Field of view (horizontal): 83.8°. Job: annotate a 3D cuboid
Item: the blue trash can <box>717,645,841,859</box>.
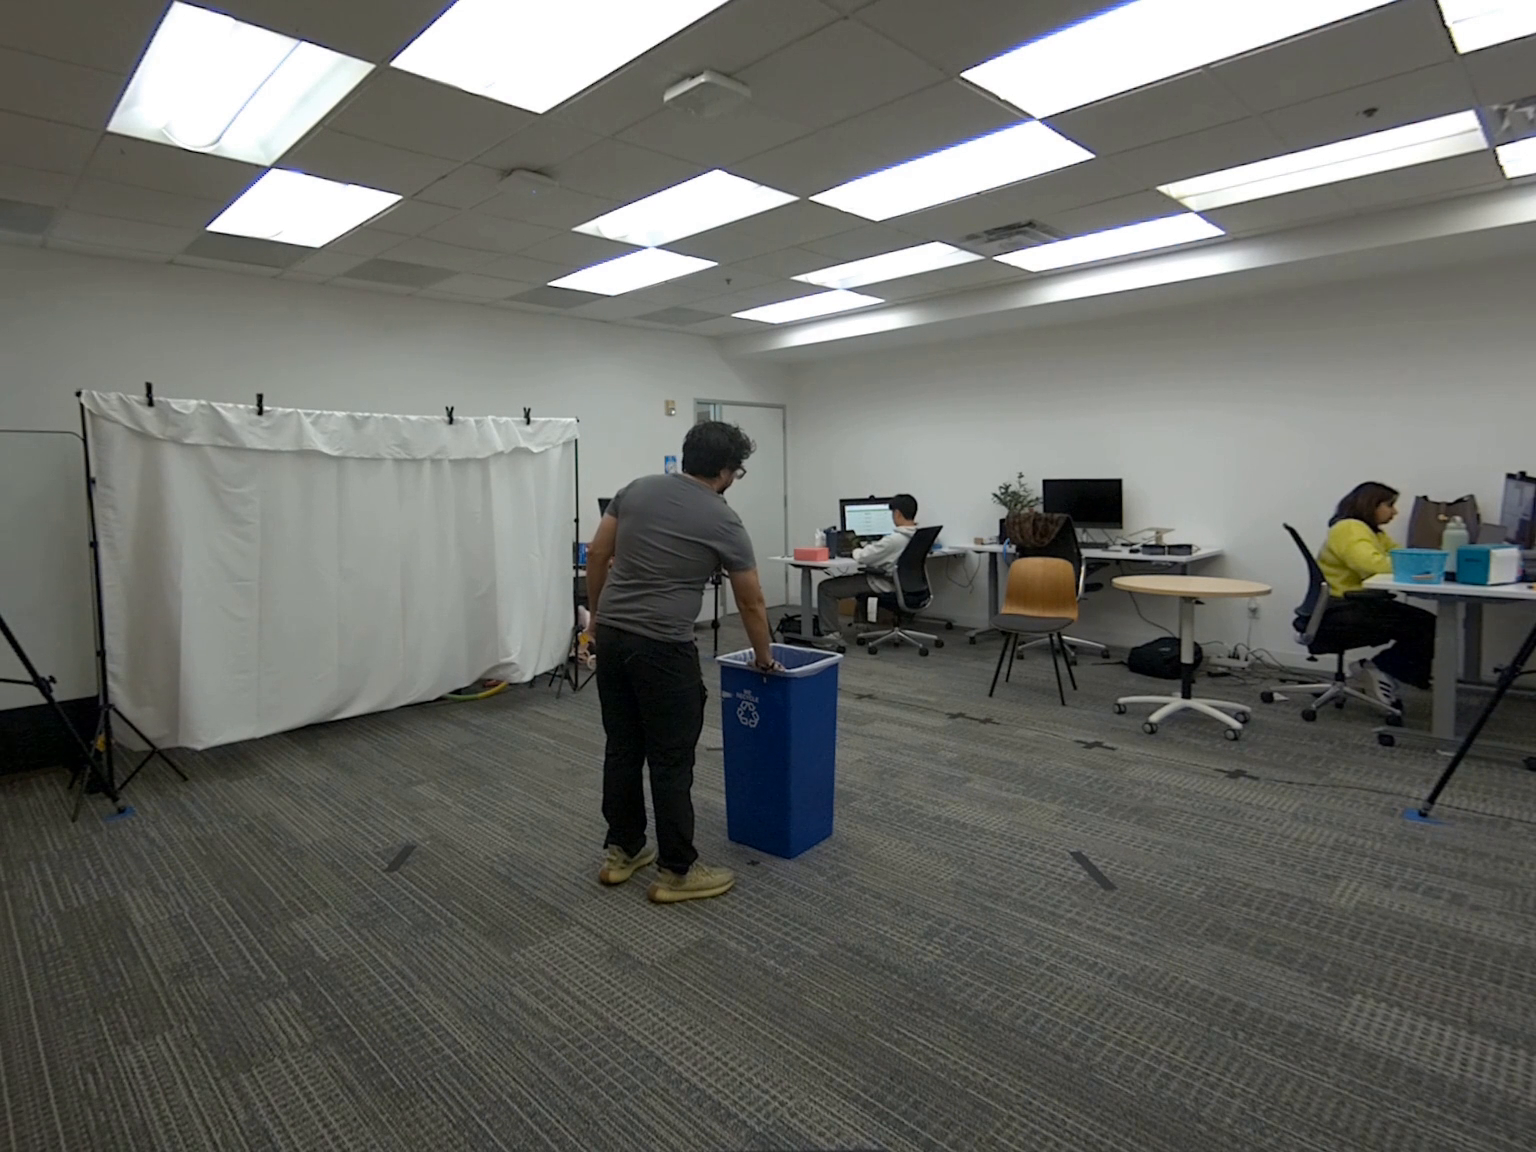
[{"bbox_3d":[0.057,0.659,3.303,0.385,0.711,0.368,2,5,39],"label":"blue trash can"}]
